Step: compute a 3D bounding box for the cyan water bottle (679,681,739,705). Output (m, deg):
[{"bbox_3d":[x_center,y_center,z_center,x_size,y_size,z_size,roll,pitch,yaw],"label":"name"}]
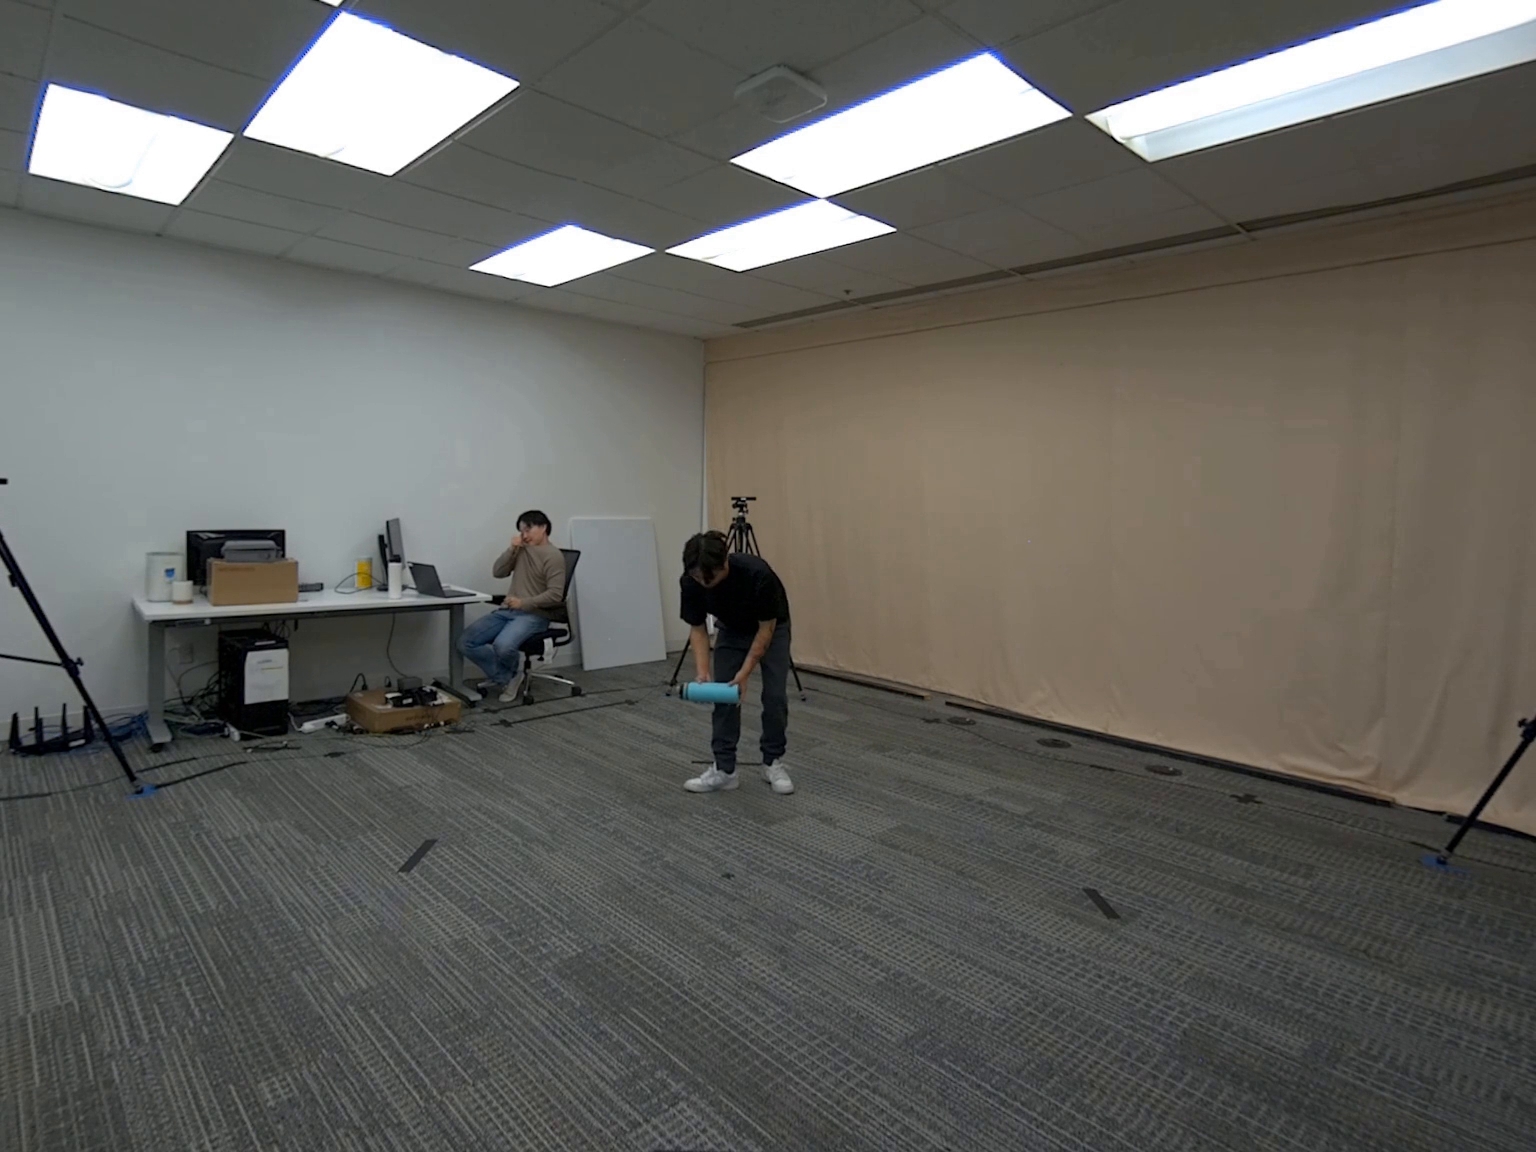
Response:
[{"bbox_3d":[-0.288,0.534,3.857,0.285,0.092,0.092,2,4,7],"label":"cyan water bottle"}]
